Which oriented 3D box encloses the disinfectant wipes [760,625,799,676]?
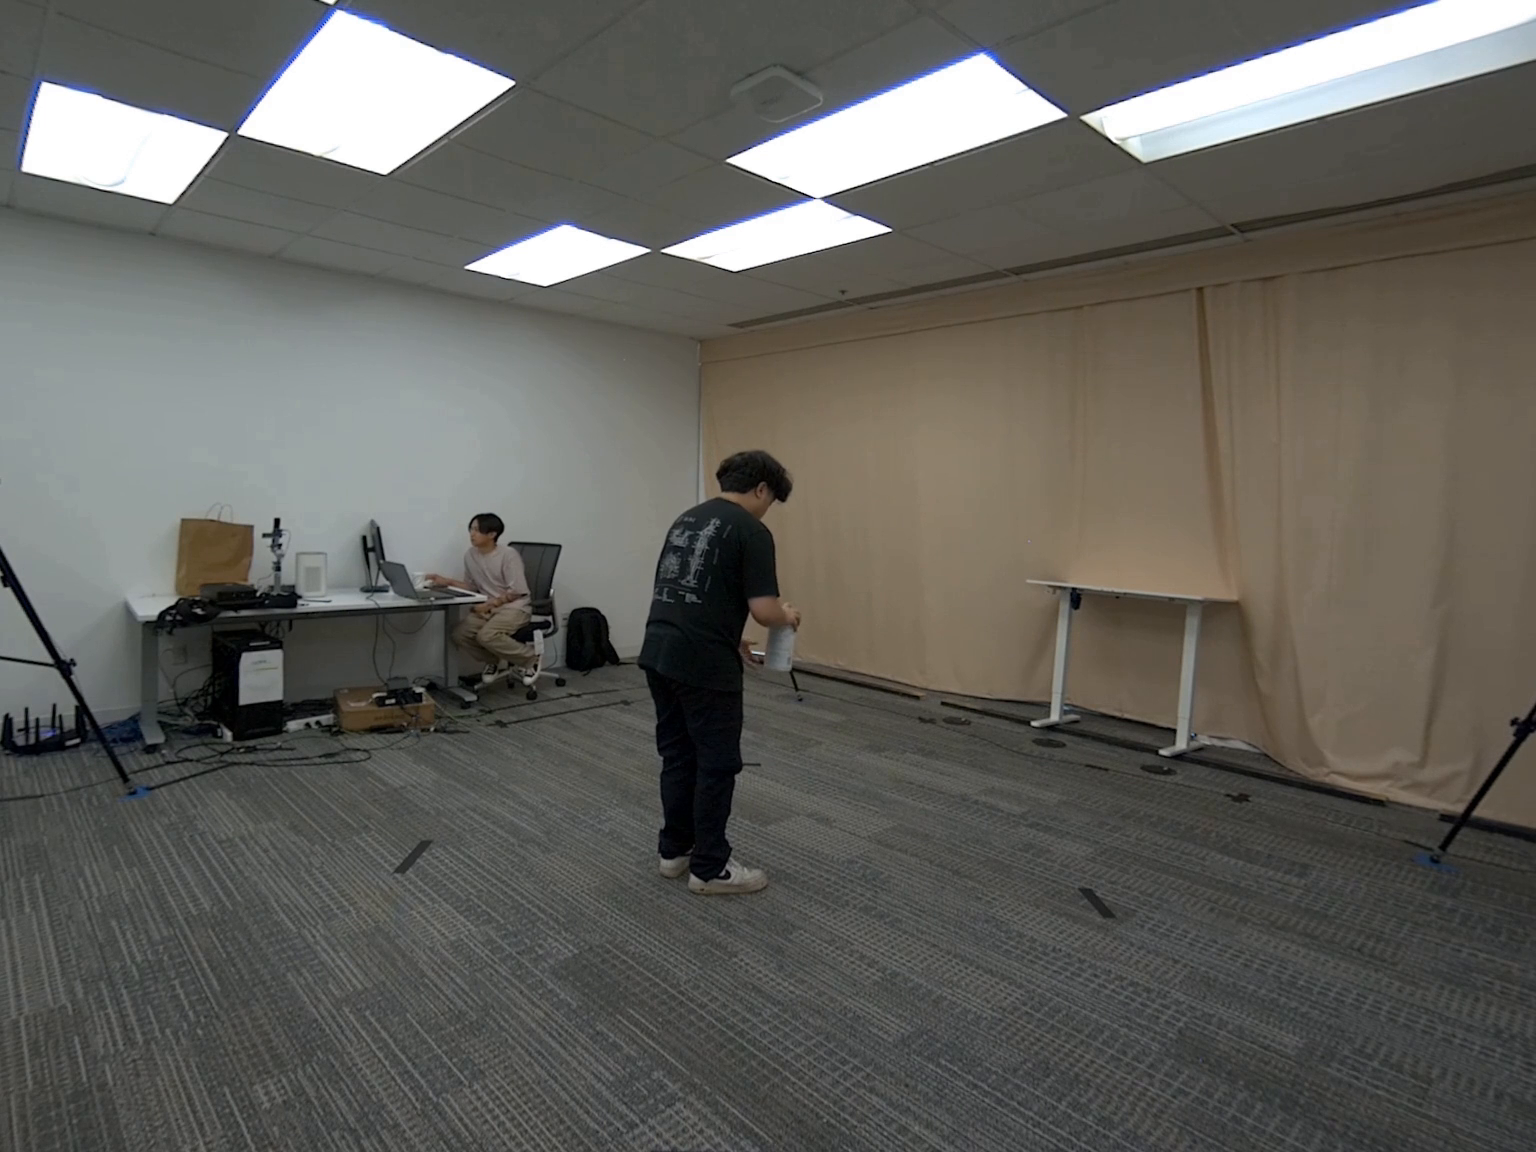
[{"bbox_3d":[0.042,0.257,3.249,0.118,0.217,0.118,7,0,-1],"label":"disinfectant wipes"}]
